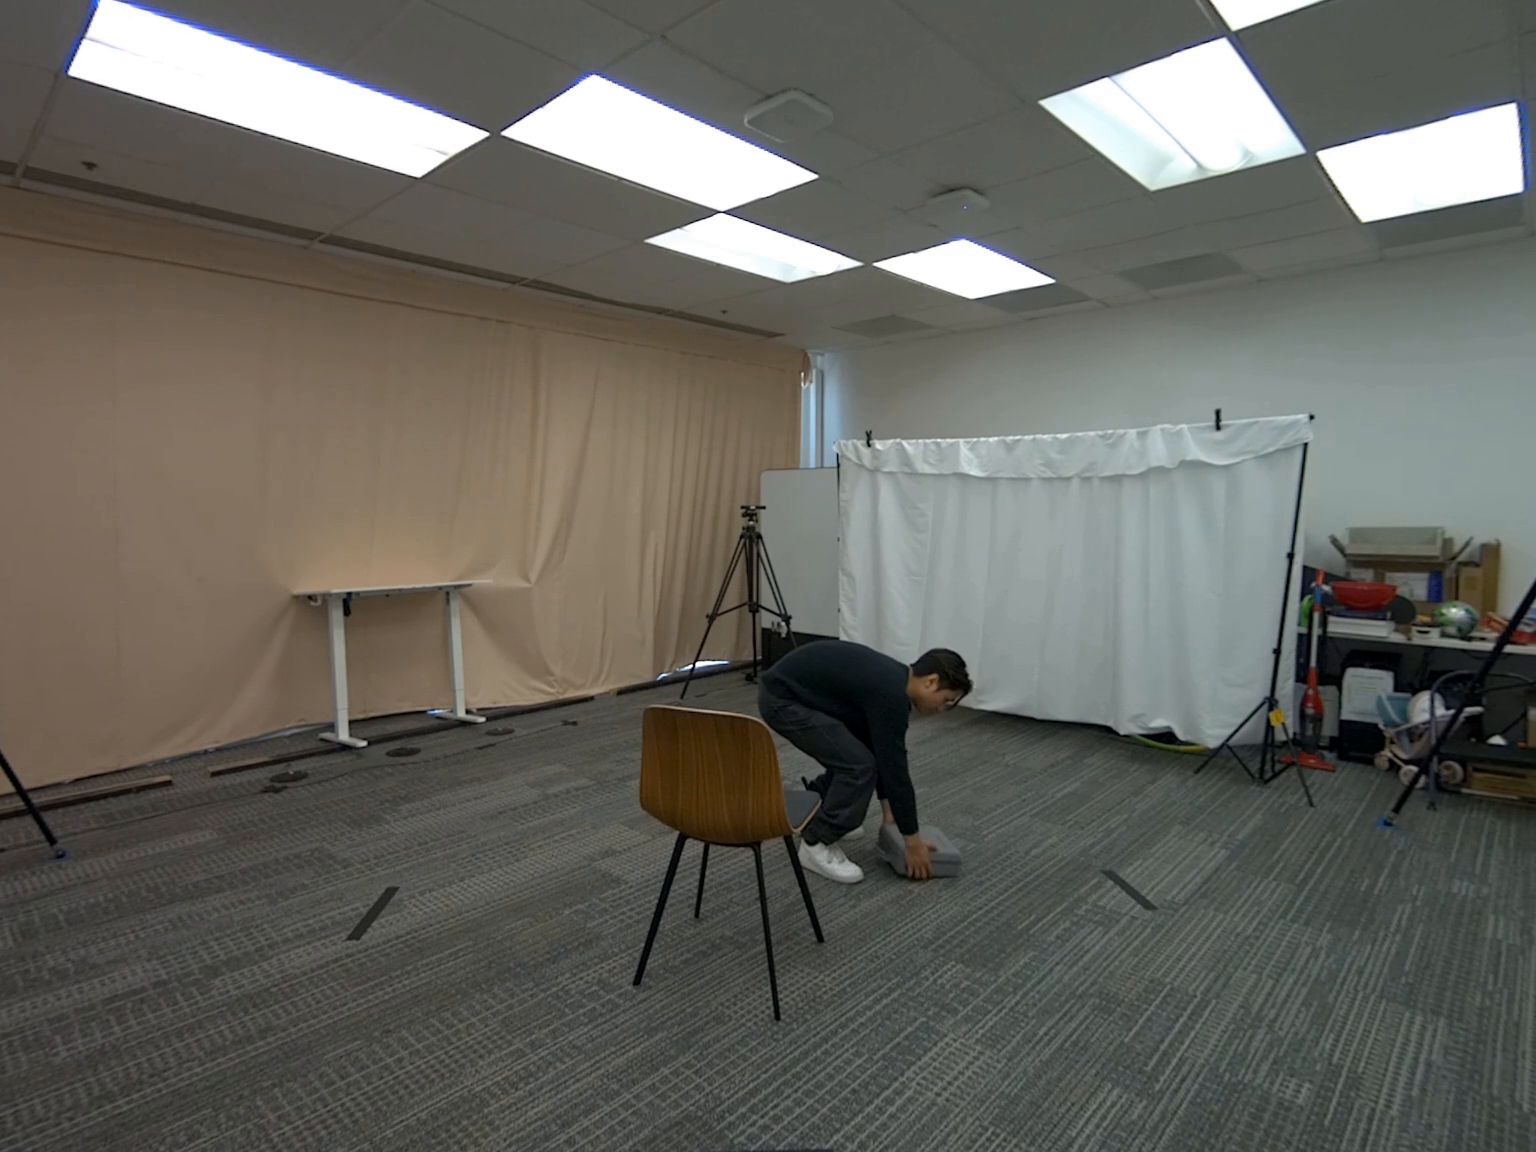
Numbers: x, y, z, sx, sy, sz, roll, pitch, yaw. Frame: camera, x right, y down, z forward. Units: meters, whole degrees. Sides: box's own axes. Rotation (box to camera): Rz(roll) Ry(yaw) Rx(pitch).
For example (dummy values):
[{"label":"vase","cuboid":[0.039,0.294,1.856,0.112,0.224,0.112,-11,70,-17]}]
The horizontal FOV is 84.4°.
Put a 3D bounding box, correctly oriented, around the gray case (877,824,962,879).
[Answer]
[{"label":"gray case","cuboid":[0.584,1.052,3.236,0.258,0.104,0.261,6,7,-10]}]
